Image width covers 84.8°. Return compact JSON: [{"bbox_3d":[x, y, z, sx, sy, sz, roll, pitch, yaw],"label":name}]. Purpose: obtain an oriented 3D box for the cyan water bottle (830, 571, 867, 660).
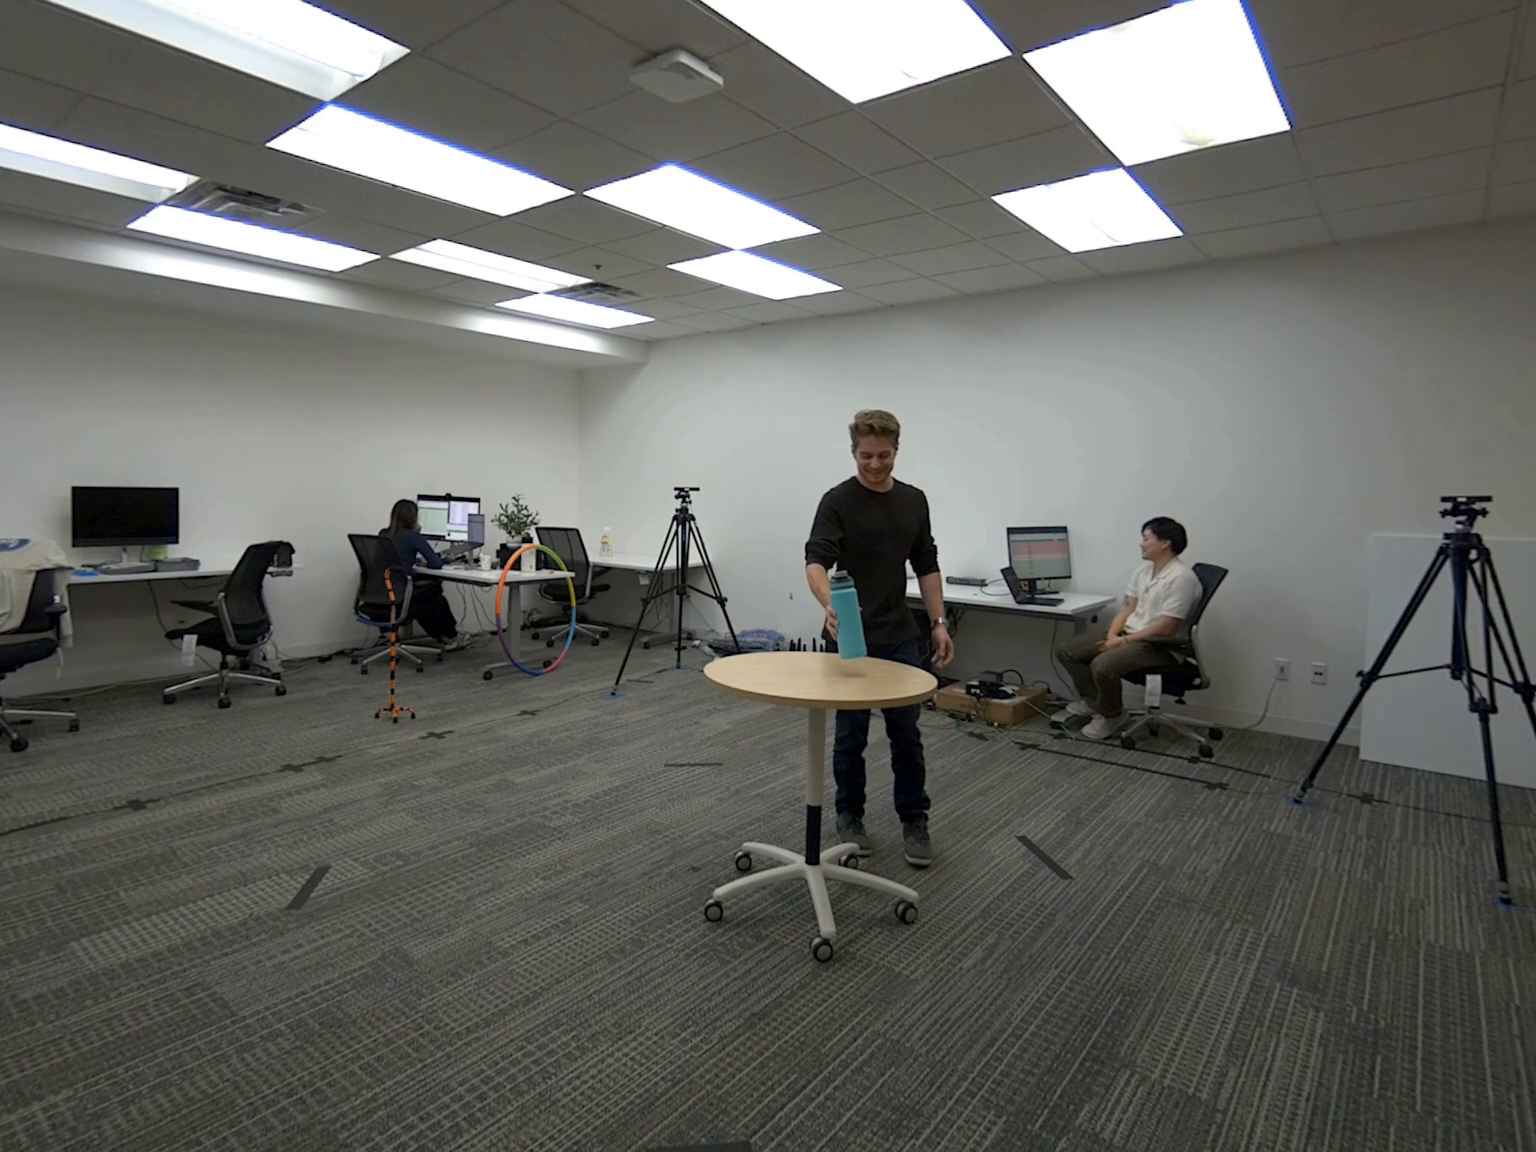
[{"bbox_3d":[0.252,0.124,2.818,0.092,0.284,0.092,-8,-3,-2],"label":"cyan water bottle"}]
